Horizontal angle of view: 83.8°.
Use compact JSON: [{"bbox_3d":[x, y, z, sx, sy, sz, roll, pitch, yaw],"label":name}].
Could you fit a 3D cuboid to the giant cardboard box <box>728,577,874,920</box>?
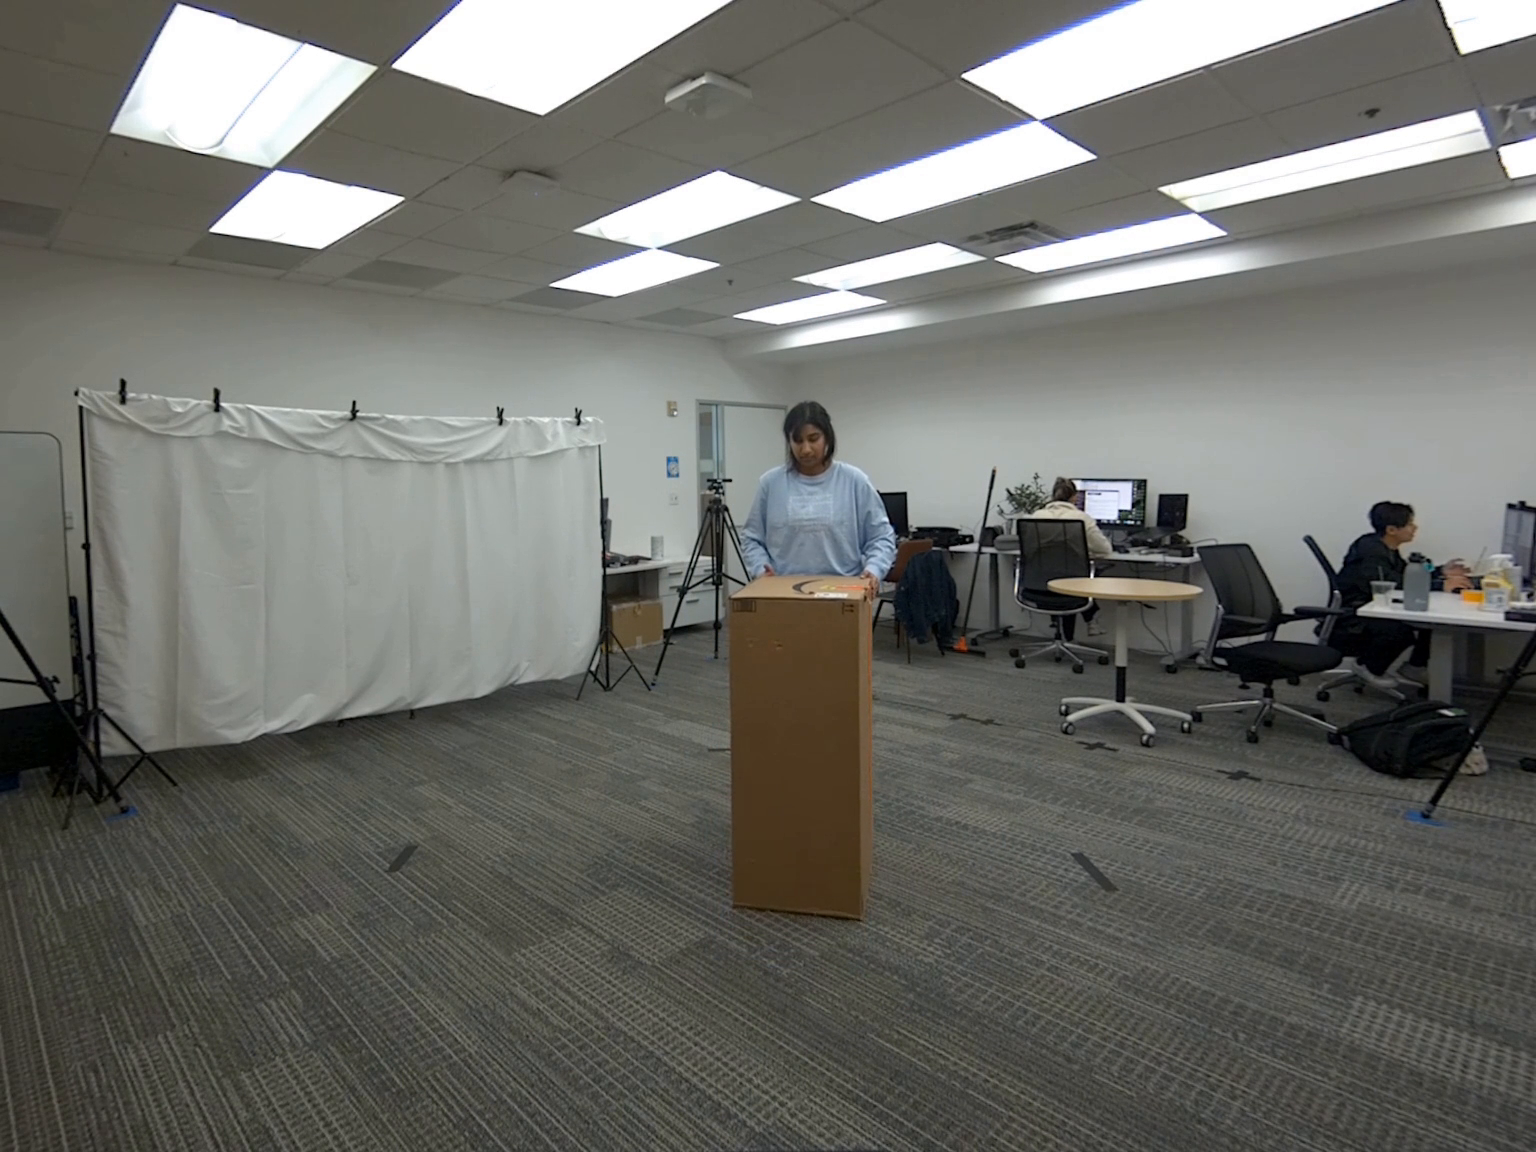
[{"bbox_3d":[0.132,0.548,2.982,0.431,1.022,0.573,0,4,12],"label":"giant cardboard box"}]
